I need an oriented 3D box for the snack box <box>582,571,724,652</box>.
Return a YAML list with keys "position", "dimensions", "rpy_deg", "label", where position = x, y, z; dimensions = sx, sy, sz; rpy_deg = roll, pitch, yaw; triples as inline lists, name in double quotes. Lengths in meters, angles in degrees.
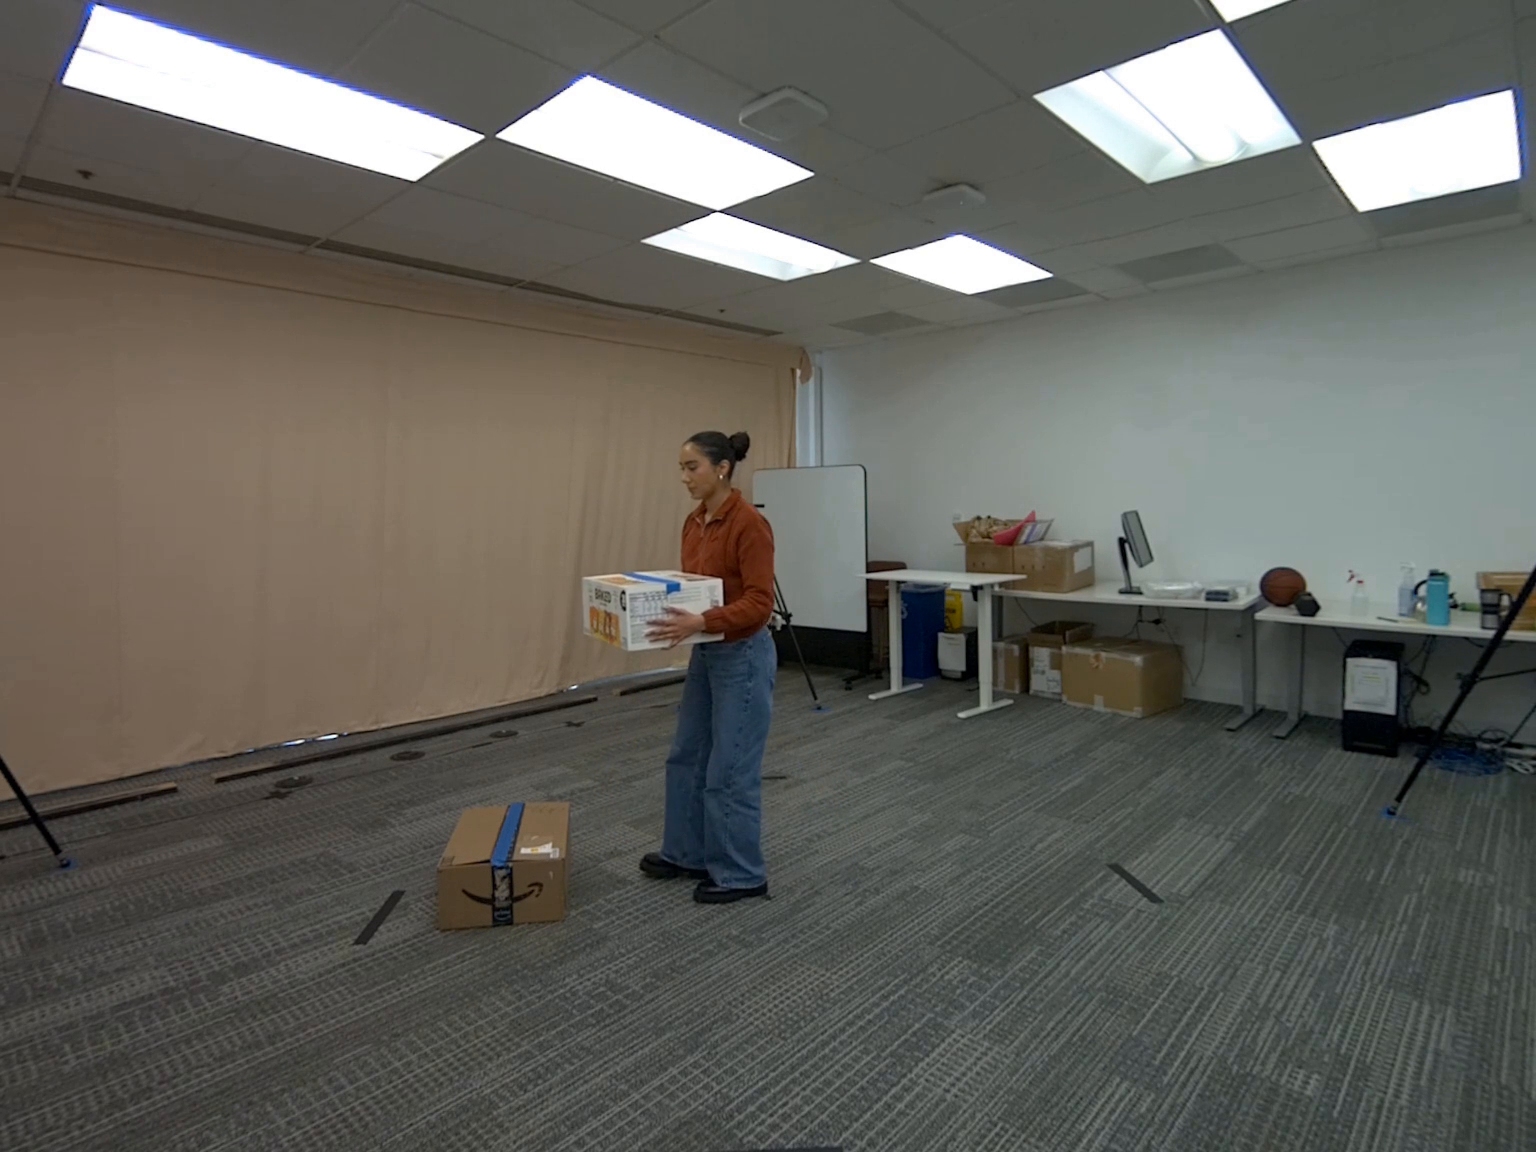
- position: [-0.394, 0.111, 2.848]
  dimensions: [0.332, 0.205, 0.417]
  rpy_deg: [-5, 7, -29]
  label: "snack box"
